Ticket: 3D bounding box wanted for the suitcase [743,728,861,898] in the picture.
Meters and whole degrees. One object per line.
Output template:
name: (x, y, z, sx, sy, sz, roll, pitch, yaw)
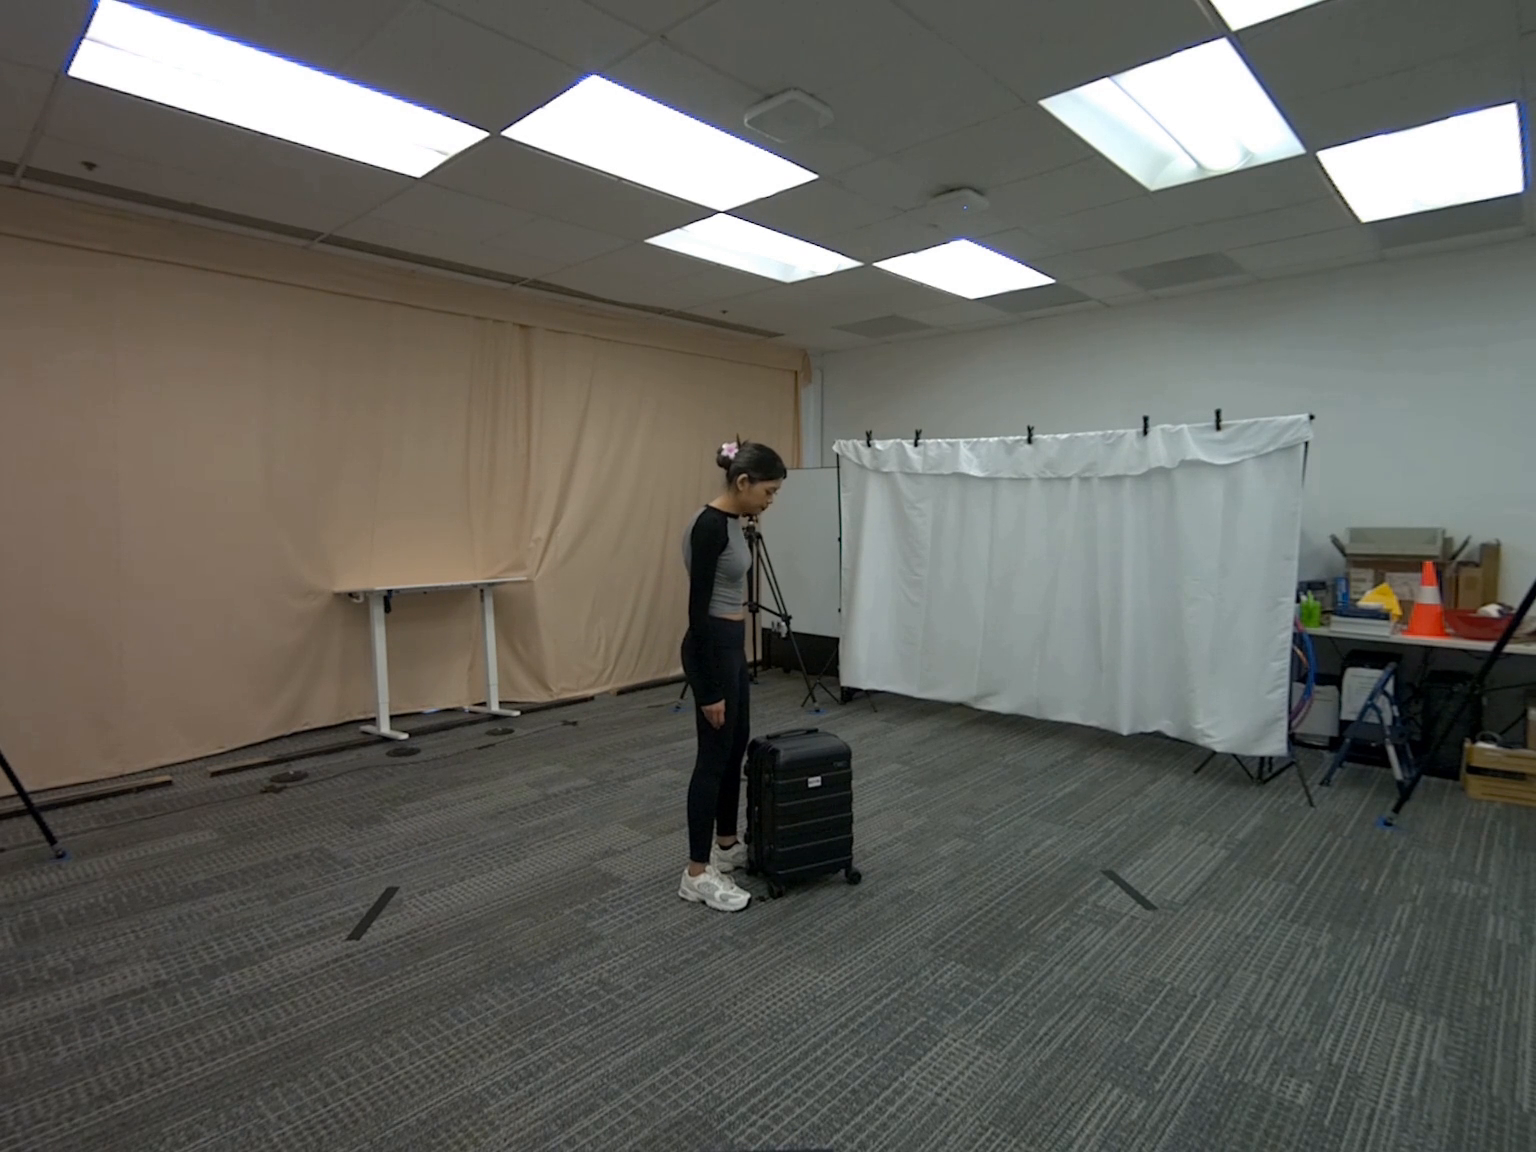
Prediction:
suitcase: (0.125, 0.854, 3.118, 0.366, 0.548, 0.255, -2, 4, -26)
